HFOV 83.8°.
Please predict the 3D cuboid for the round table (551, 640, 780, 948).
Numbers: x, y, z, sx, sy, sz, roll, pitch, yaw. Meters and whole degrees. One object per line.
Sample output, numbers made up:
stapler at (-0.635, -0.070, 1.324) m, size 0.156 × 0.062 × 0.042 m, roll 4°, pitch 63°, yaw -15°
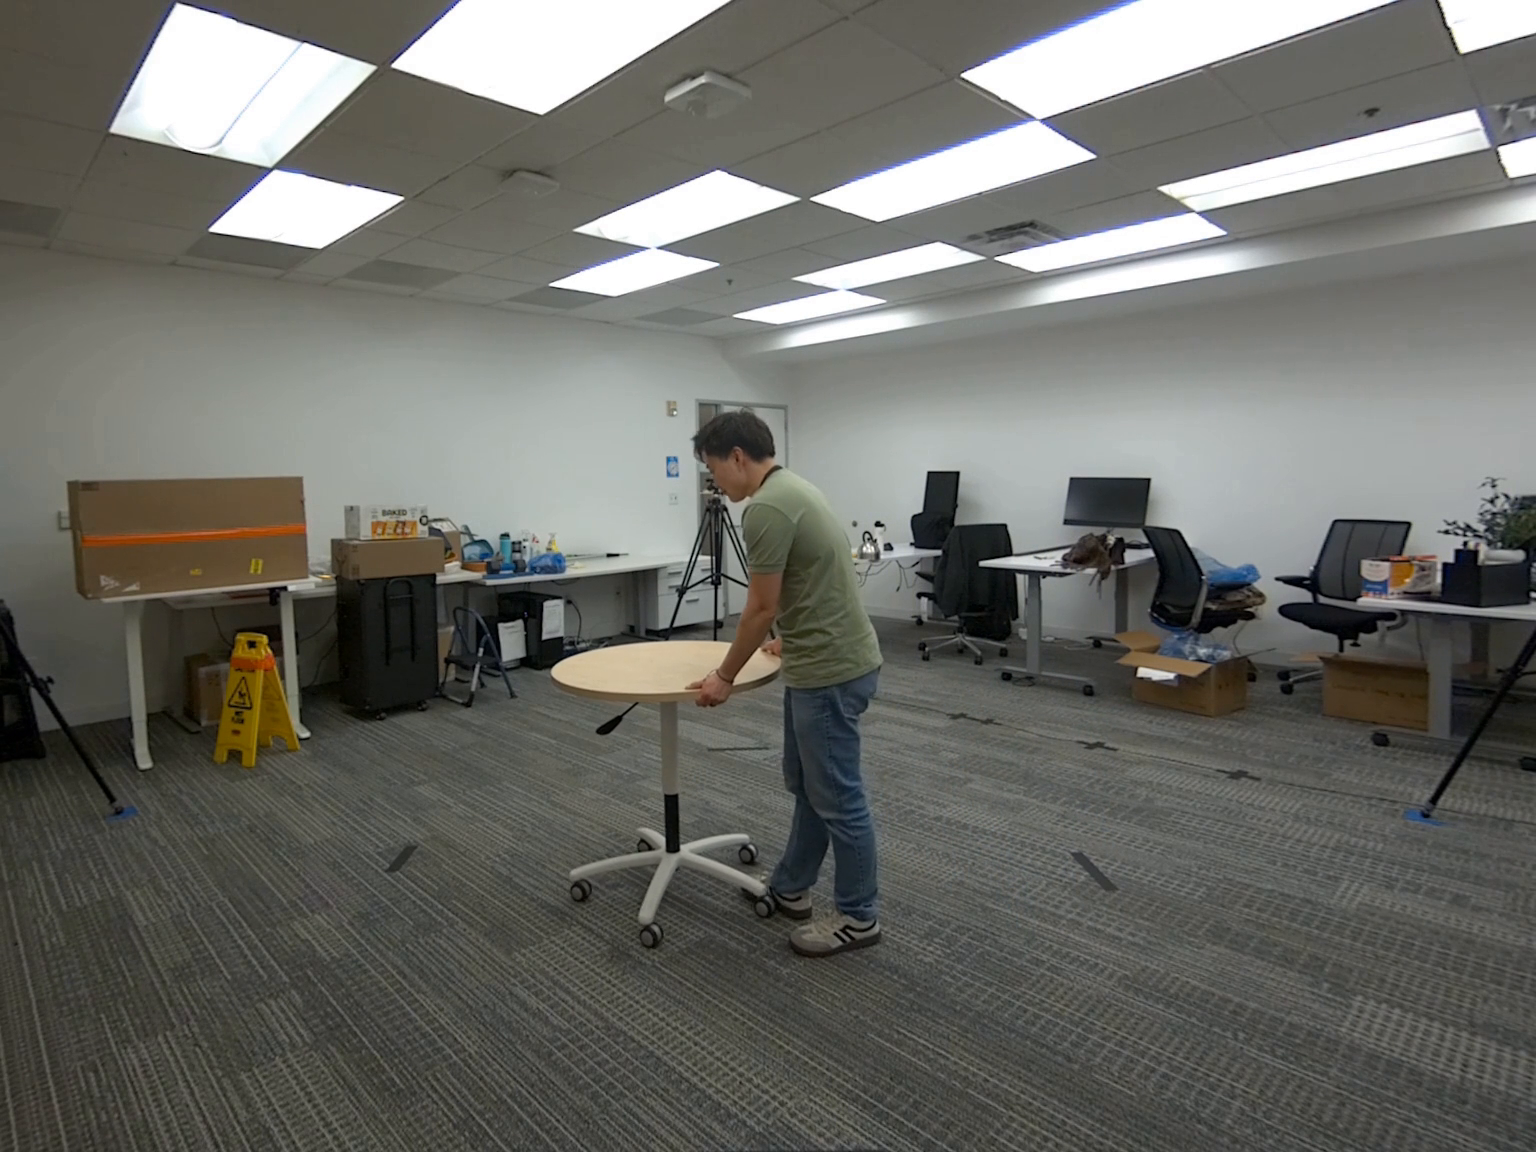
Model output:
round table at (-0.319, 0.686, 2.888) m, size 0.763 × 0.791 × 0.768 m, roll -1°, pitch 5°, yaw -2°
